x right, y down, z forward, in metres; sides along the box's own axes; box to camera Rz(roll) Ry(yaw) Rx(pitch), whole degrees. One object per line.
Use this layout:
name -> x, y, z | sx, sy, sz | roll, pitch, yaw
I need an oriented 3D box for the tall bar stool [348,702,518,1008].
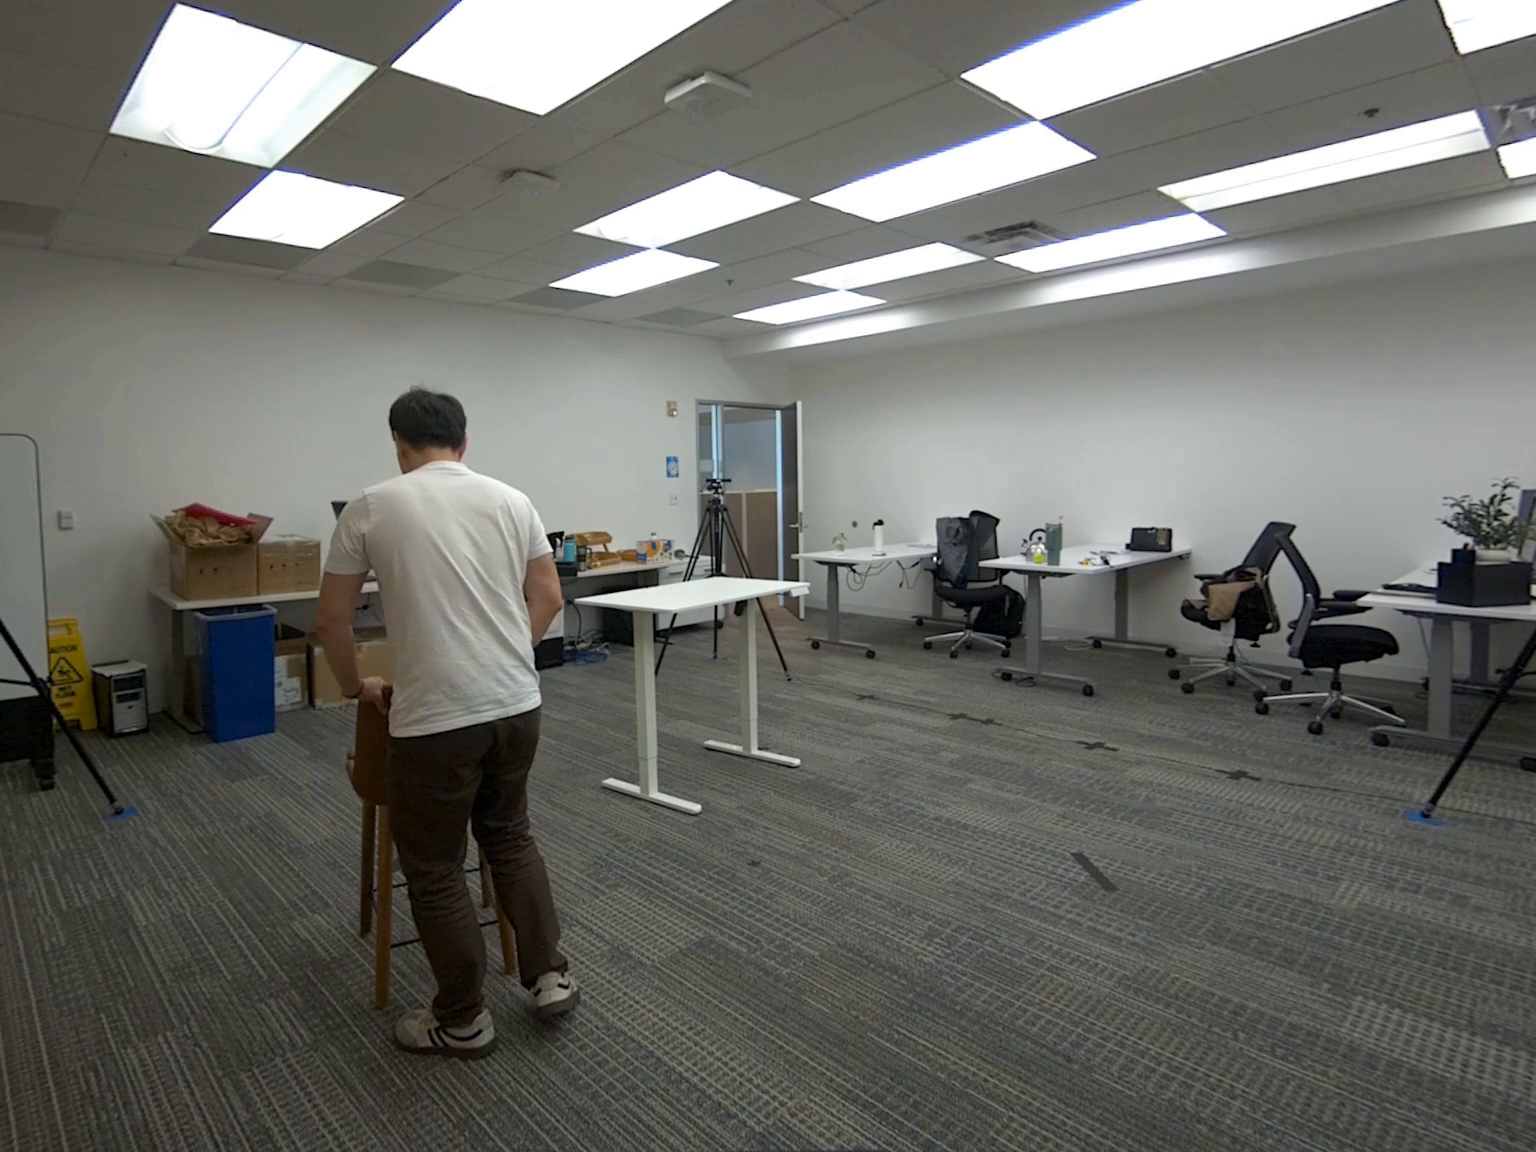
tall bar stool -> -0.990, 0.693, 2.536 | 0.446, 0.885, 0.480 | -3, 7, -27
